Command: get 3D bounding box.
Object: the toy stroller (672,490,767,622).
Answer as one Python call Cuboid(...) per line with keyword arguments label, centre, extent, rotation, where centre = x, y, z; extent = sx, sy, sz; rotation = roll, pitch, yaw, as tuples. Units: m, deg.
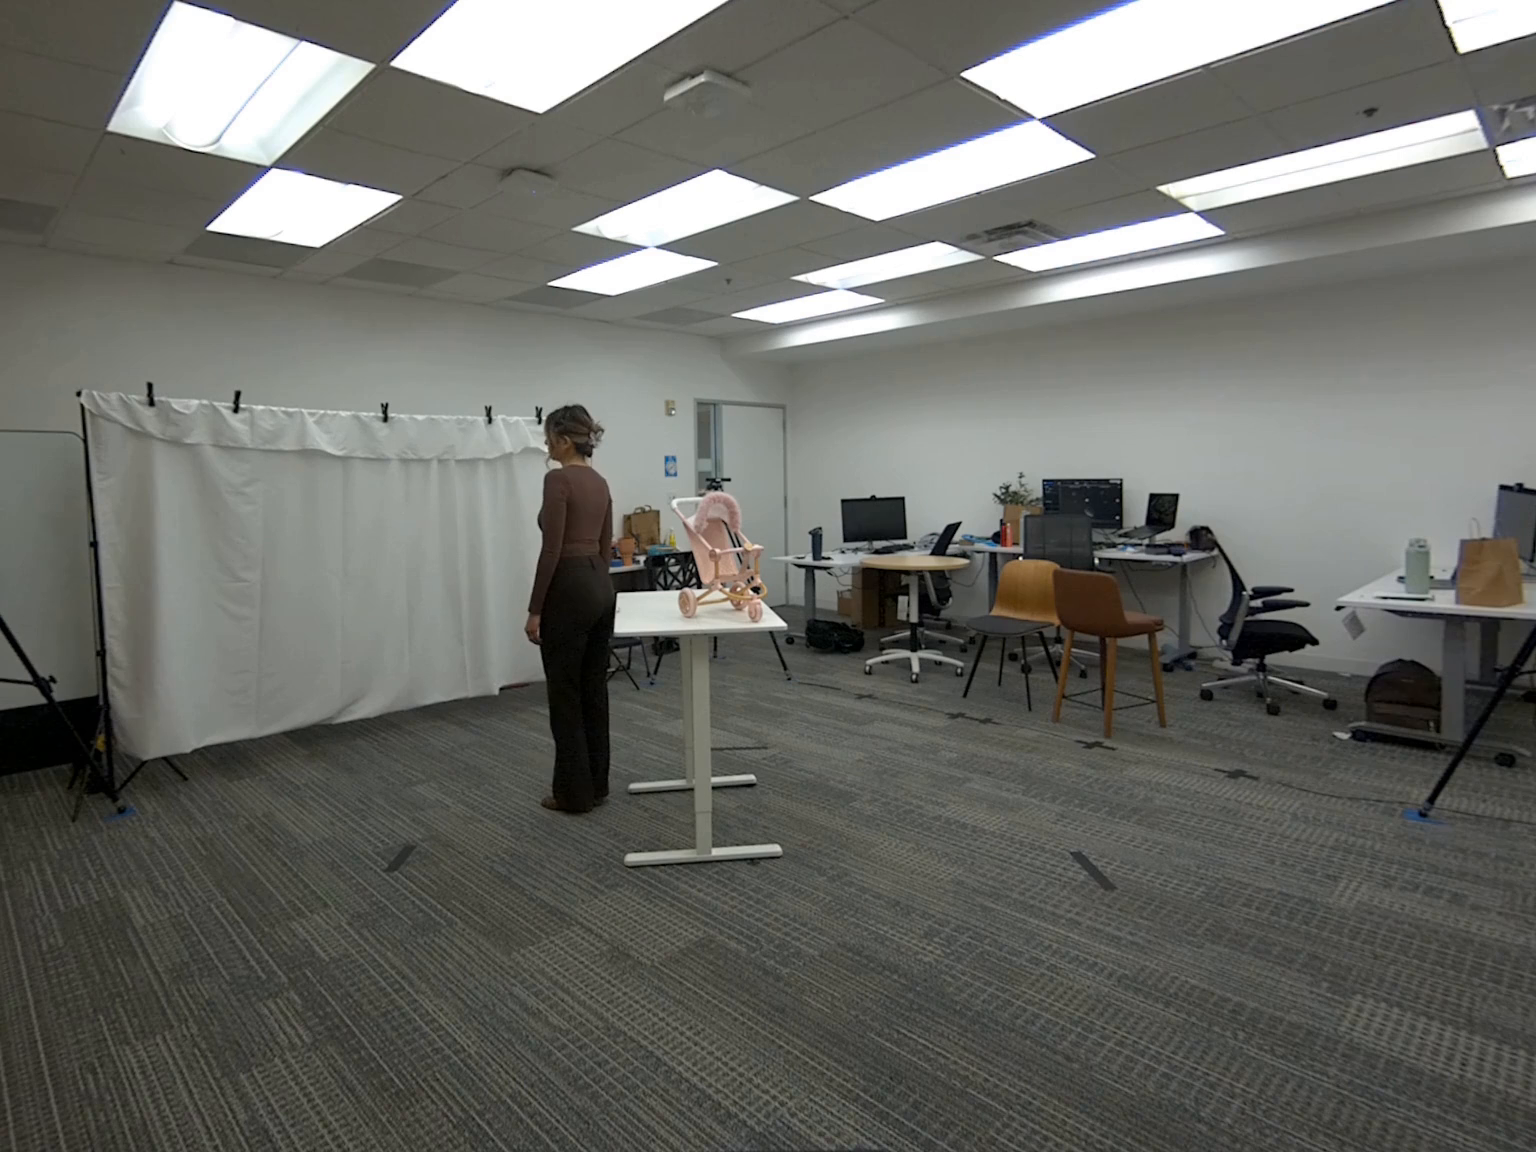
Cuboid(label="toy stroller", centre=(-0.172, -0.077, 3.203), extent=(0.274, 0.540, 0.347), rotation=(-5, -9, -35))
